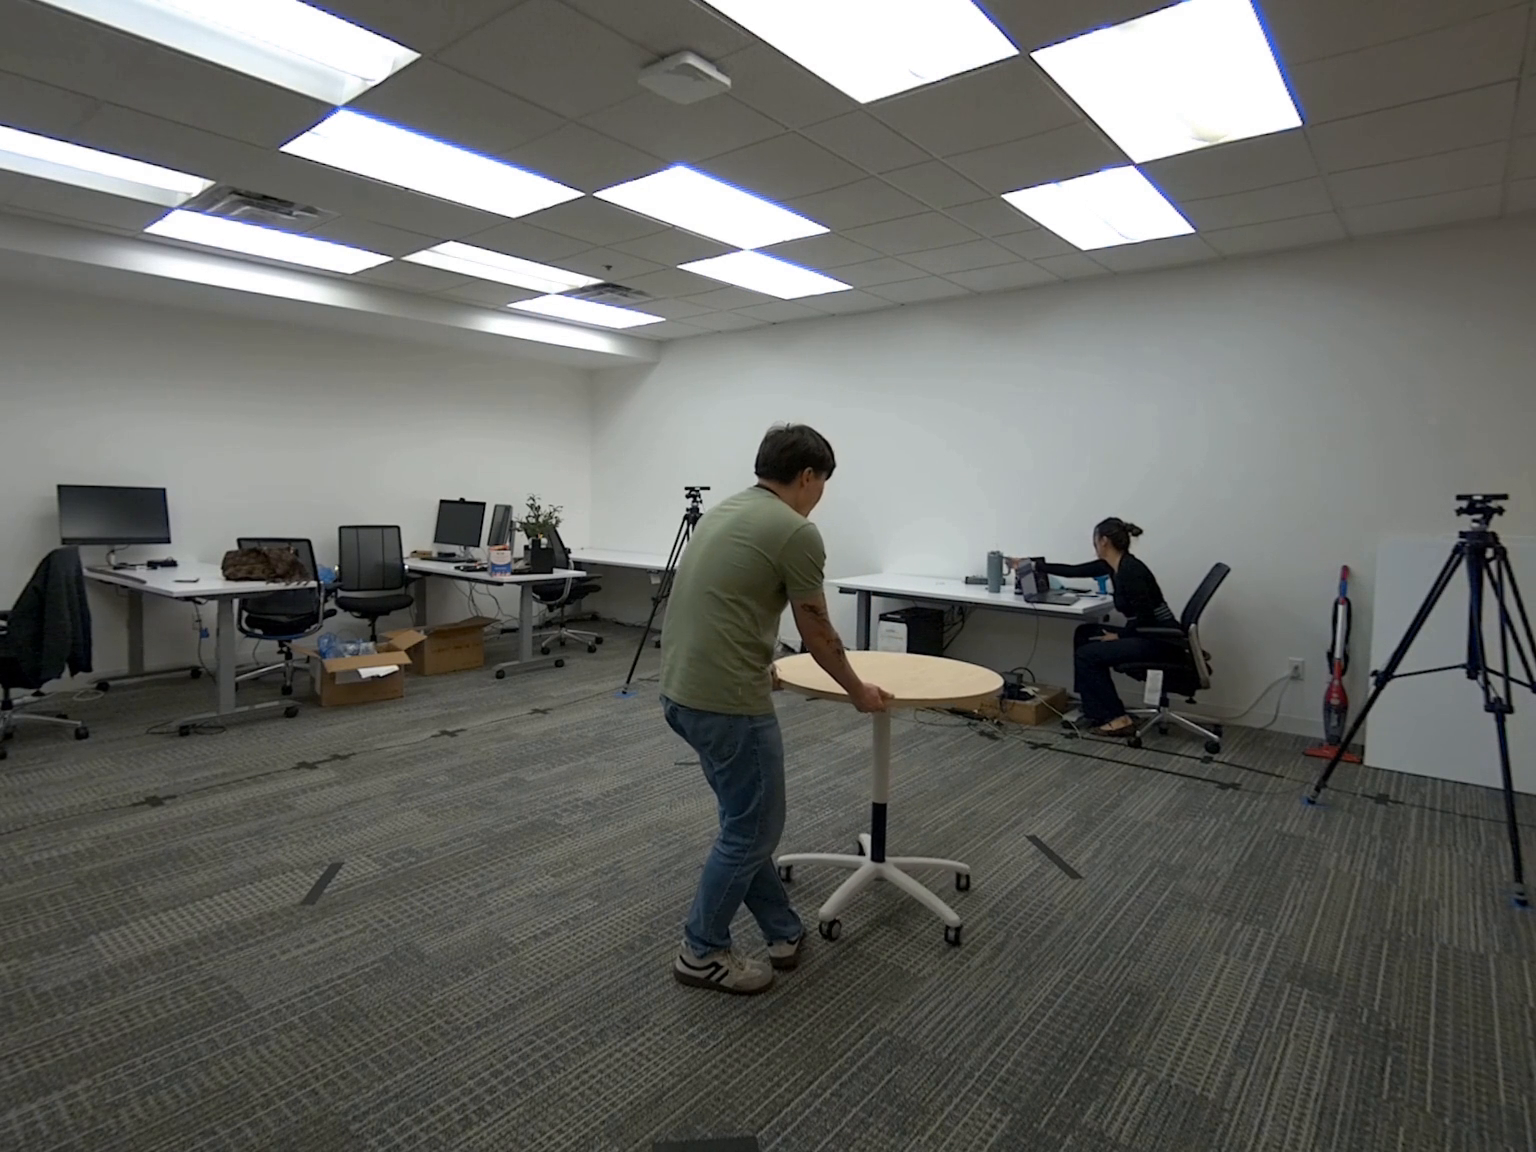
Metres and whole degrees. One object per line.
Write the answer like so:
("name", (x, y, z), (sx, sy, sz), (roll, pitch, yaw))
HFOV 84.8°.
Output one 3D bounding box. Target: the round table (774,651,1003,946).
("round table", (0.373, 0.710, 2.873), (0.763, 0.791, 0.768), (1, 4, -2))
